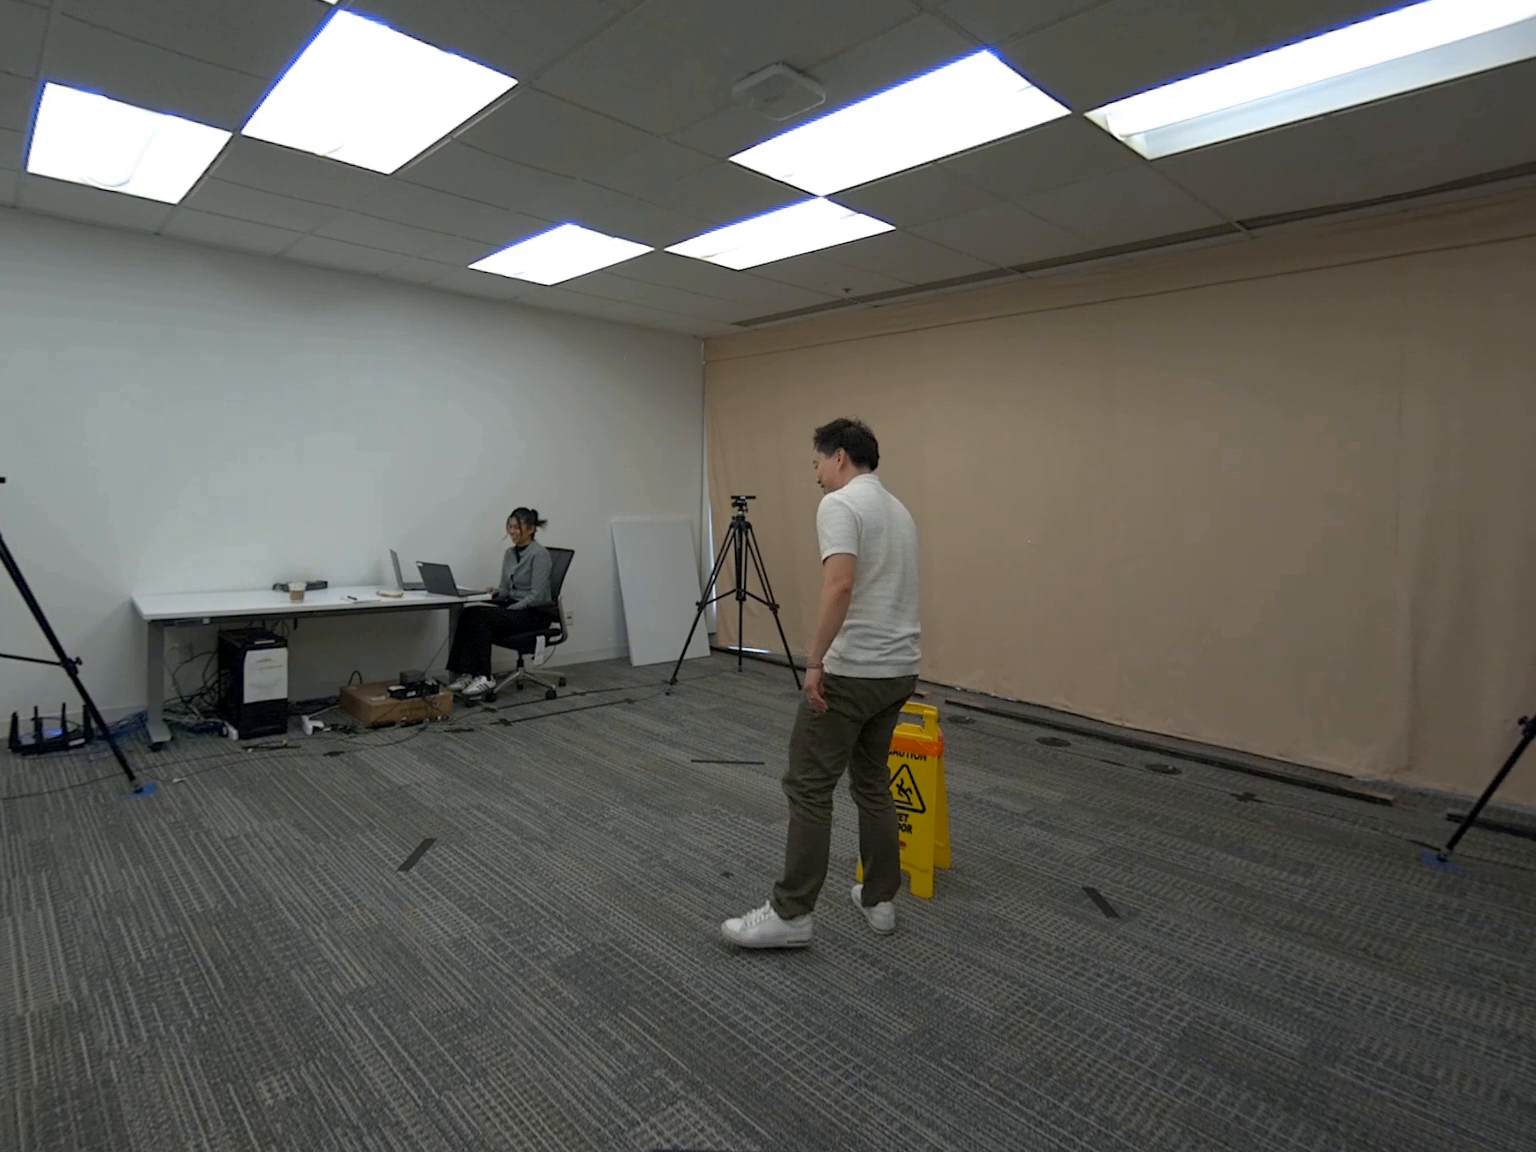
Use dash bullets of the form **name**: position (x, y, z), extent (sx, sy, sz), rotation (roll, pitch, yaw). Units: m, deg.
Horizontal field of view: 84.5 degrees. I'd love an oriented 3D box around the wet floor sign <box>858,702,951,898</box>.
- **wet floor sign**: position (0.516, 0.793, 3.129), extent (0.288, 0.645, 0.284), rotation (4, 3, 26)
